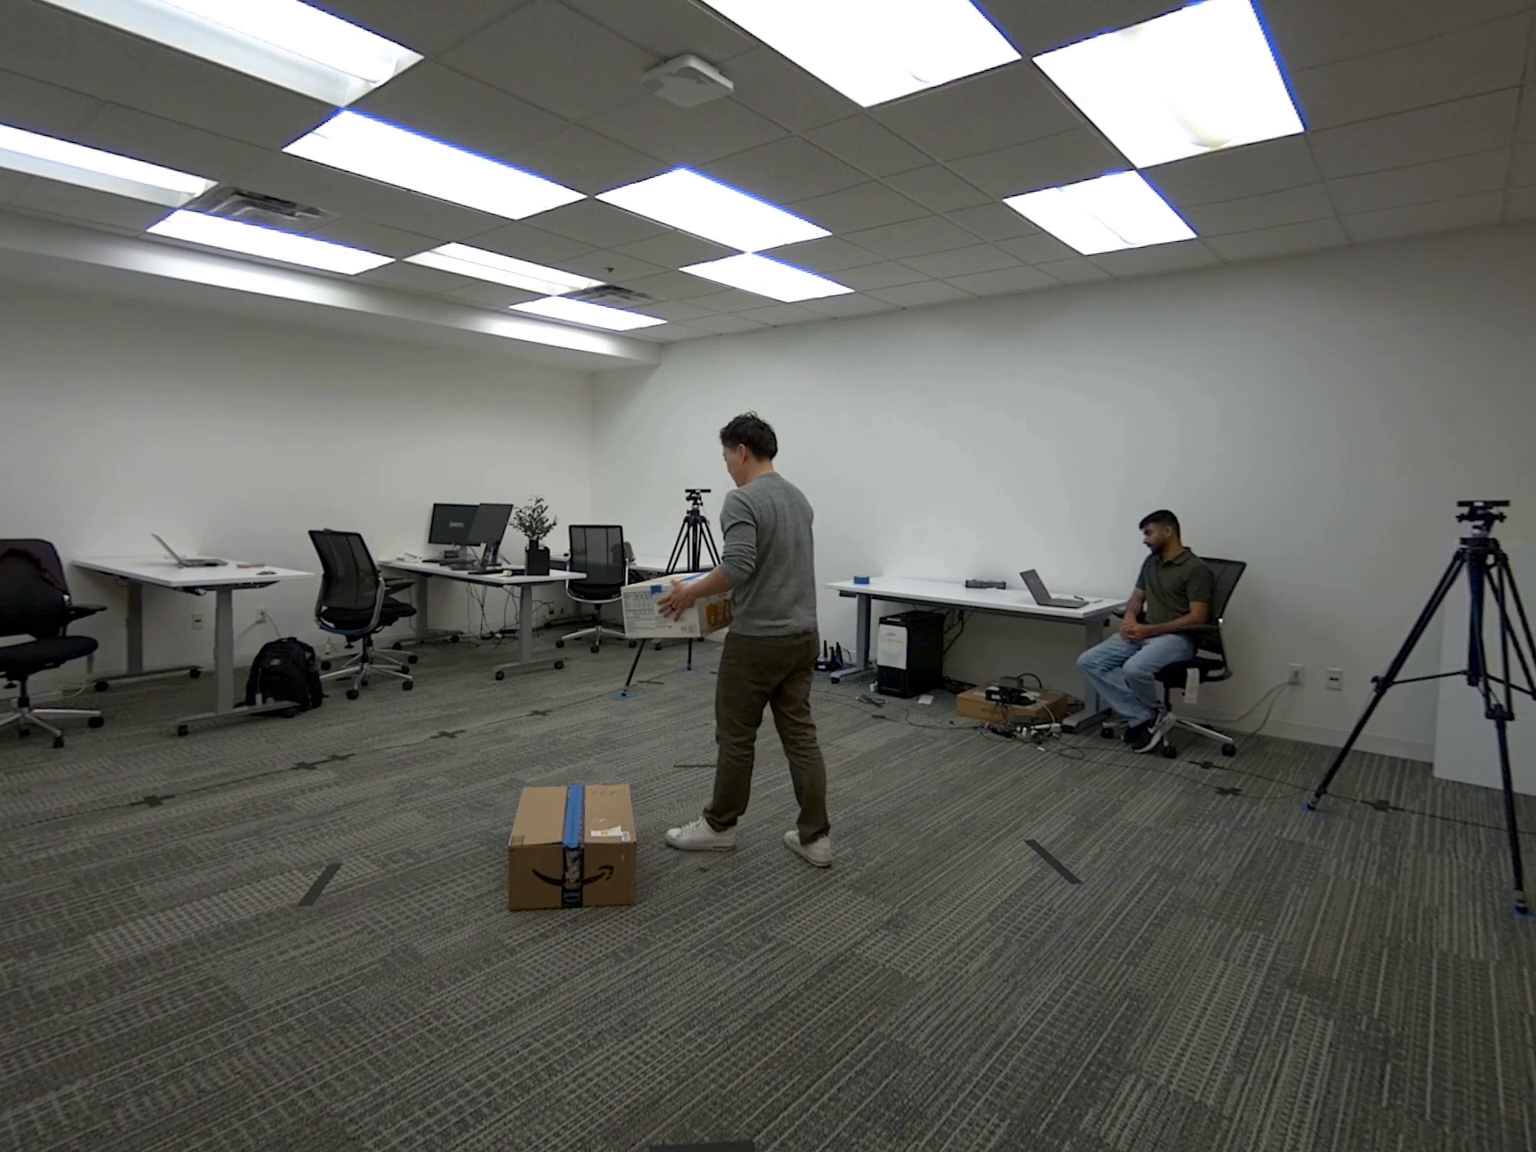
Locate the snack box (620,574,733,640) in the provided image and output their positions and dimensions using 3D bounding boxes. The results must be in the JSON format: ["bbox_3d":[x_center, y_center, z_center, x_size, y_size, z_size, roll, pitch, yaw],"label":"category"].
[{"bbox_3d":[-0.352,0.105,3.425,0.348,0.205,0.397,-3,5,26],"label":"snack box"}]
